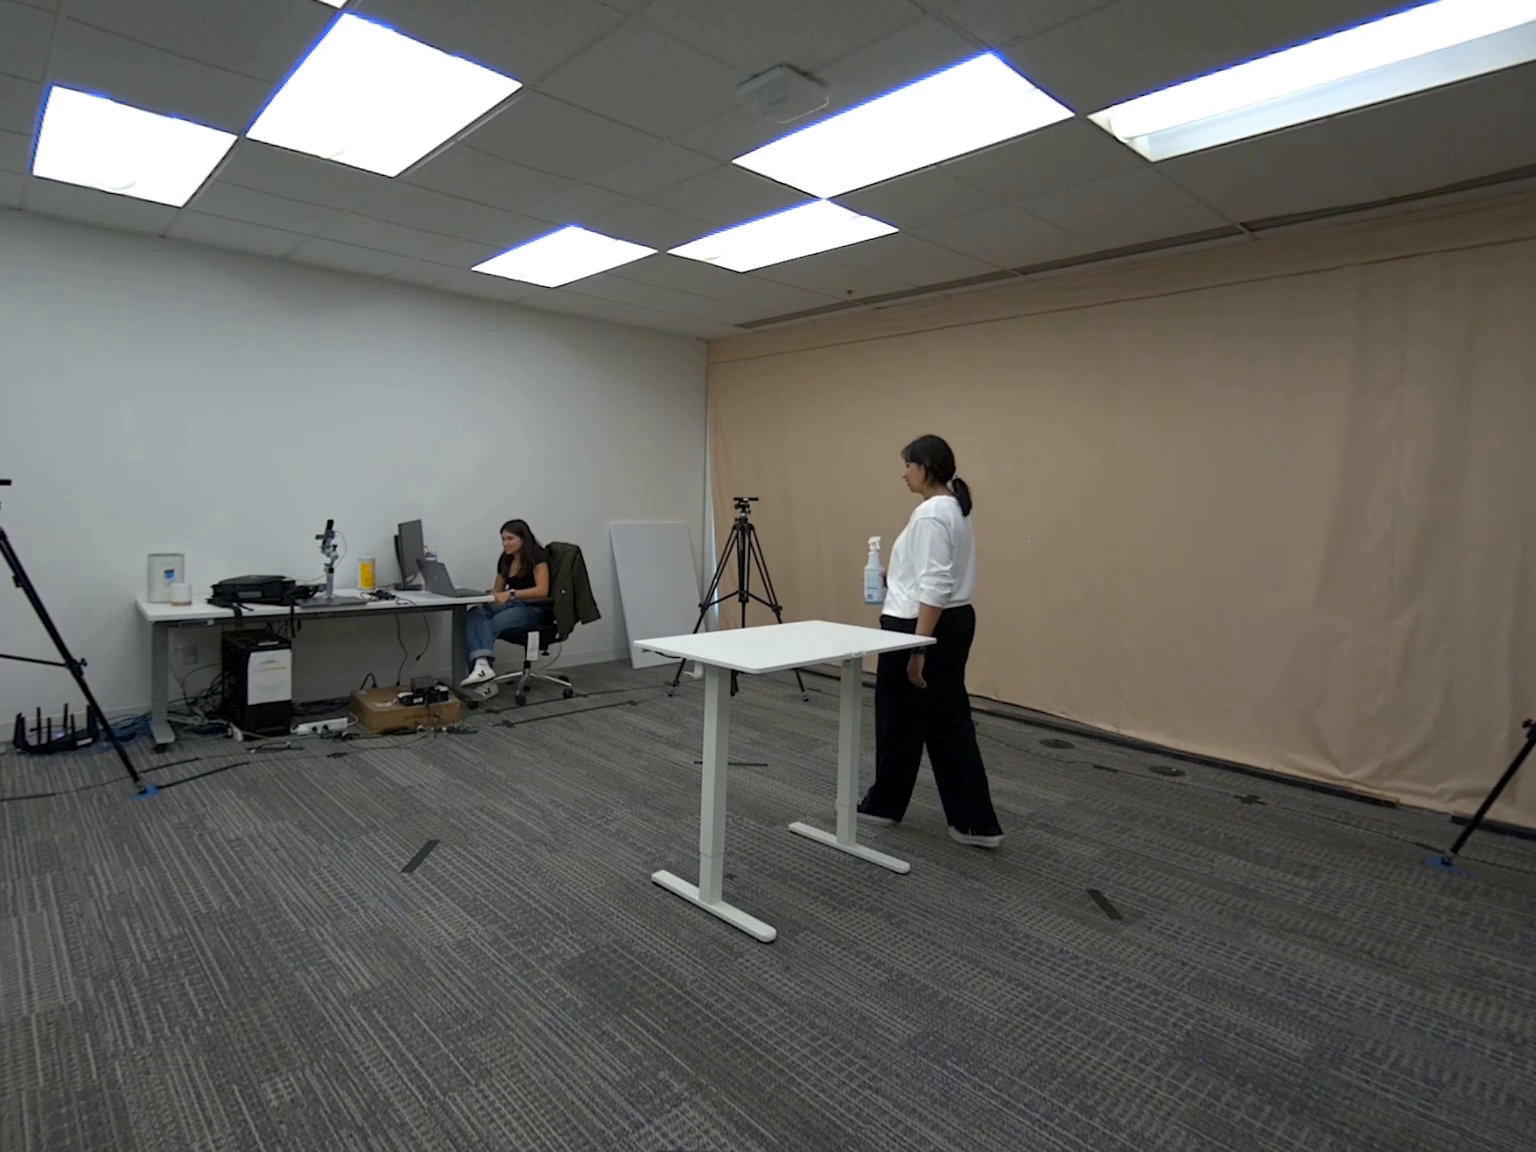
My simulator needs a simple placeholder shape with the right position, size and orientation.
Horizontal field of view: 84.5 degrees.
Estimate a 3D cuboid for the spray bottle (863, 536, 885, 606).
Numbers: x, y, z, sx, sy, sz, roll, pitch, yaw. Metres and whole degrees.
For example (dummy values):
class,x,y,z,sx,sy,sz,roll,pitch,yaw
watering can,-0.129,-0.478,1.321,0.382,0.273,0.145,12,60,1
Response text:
class,x,y,z,sx,sy,sz,roll,pitch,yaw
spray bottle,0.466,-0.025,3.712,0.087,0.297,0.089,1,2,7
